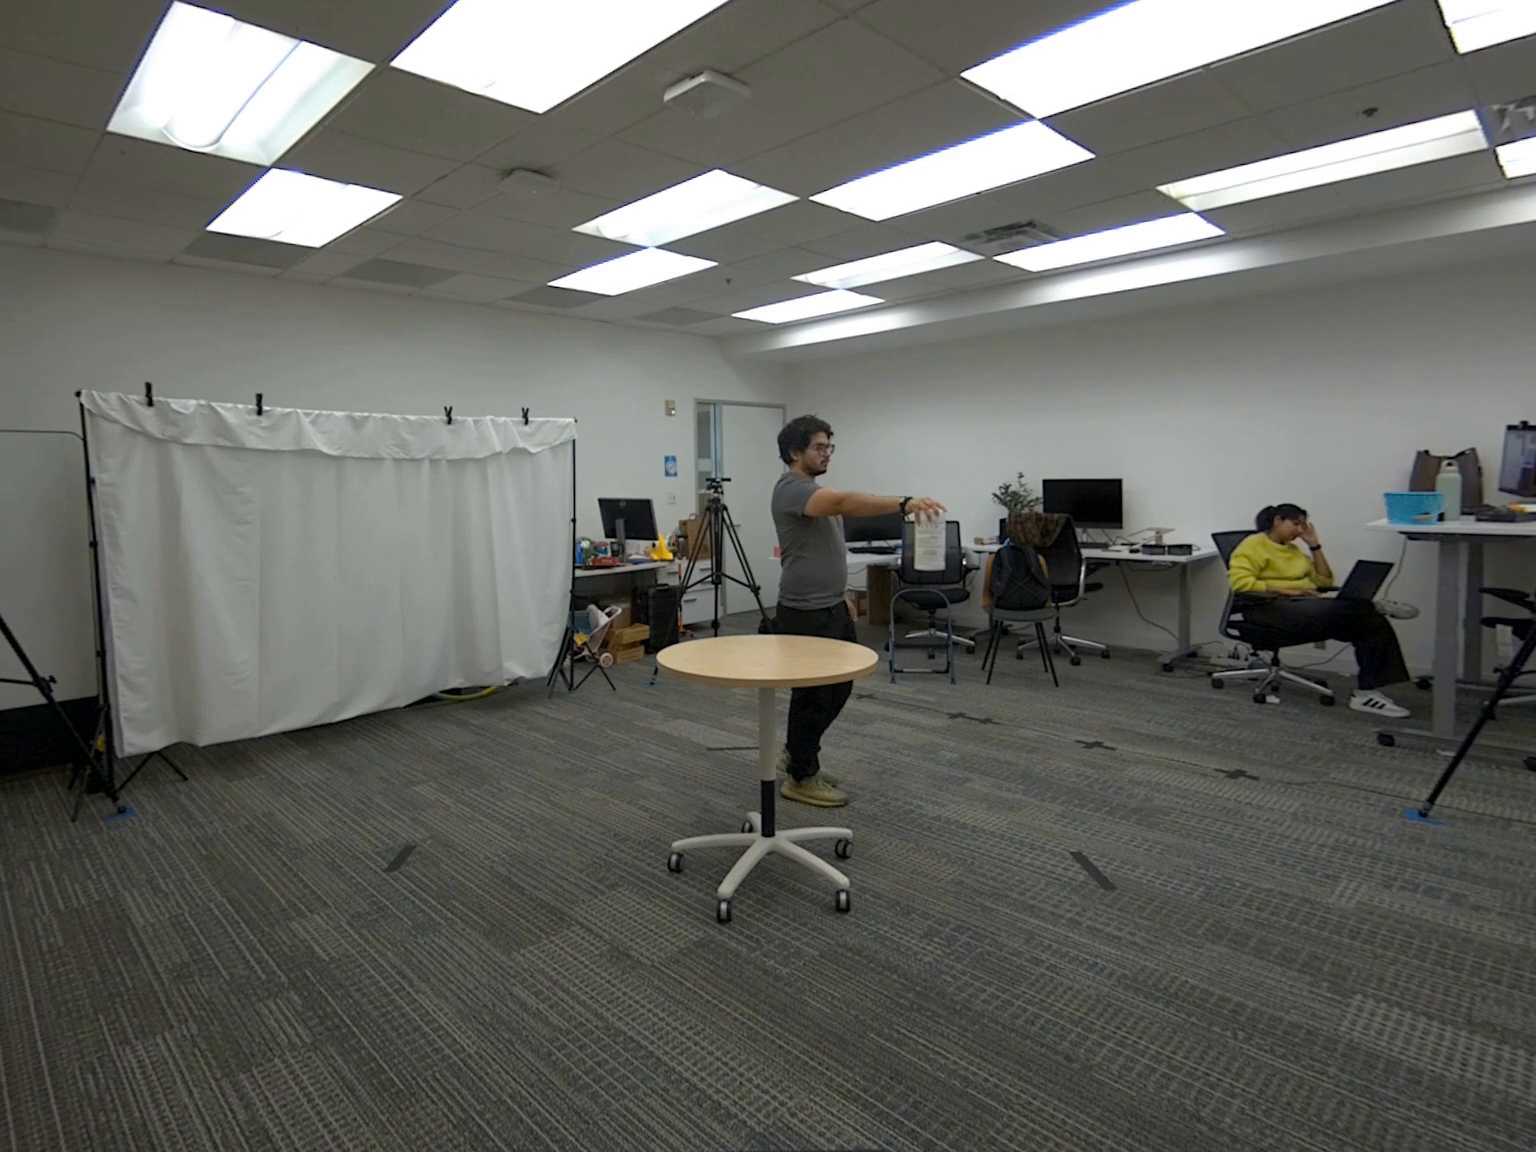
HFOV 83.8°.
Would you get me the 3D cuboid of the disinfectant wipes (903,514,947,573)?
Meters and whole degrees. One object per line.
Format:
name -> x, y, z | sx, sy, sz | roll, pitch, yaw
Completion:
disinfectant wipes -> 0.592, -0.133, 3.083 | 0.118, 0.217, 0.118 | -2, 3, -2
